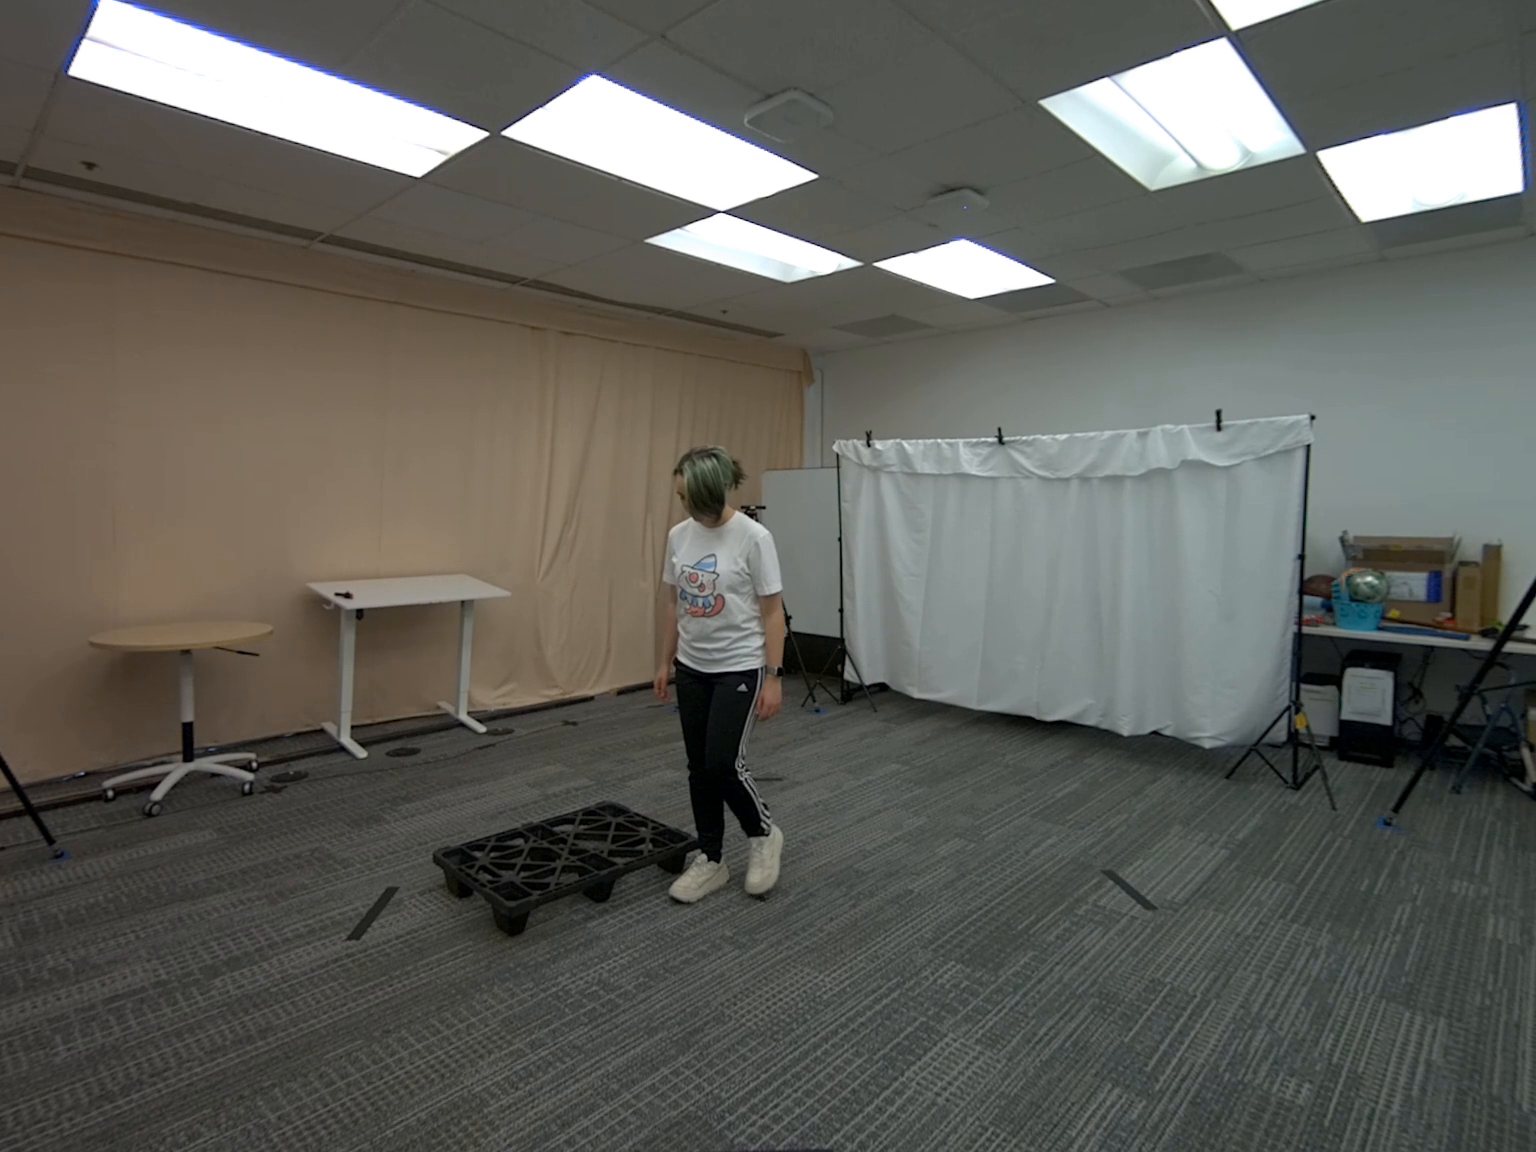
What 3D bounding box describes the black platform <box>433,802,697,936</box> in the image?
[{"bbox_3d":[-0.741,1.070,3.138,0.781,0.143,0.625,-5,7,-43],"label":"black platform"}]
